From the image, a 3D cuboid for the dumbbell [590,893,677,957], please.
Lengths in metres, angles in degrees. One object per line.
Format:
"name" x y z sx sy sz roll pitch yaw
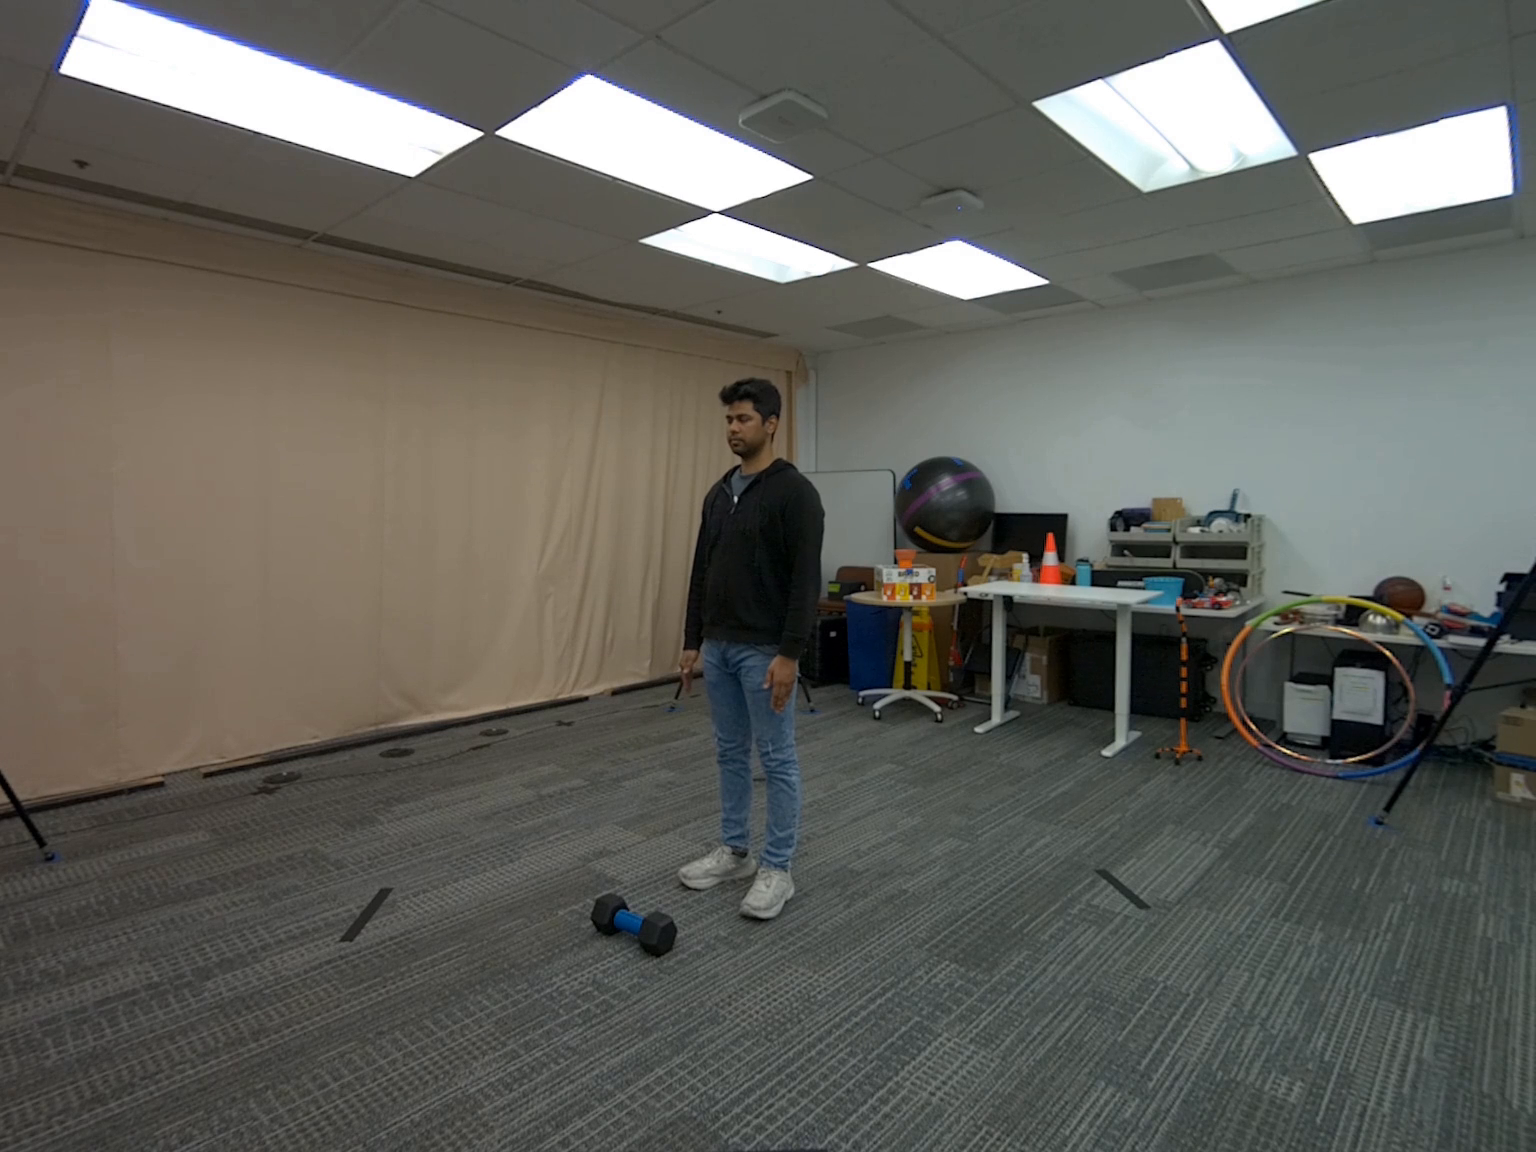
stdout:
"dumbbell" -0.432 1.118 2.699 0.303 0.108 0.119 3 3 36
